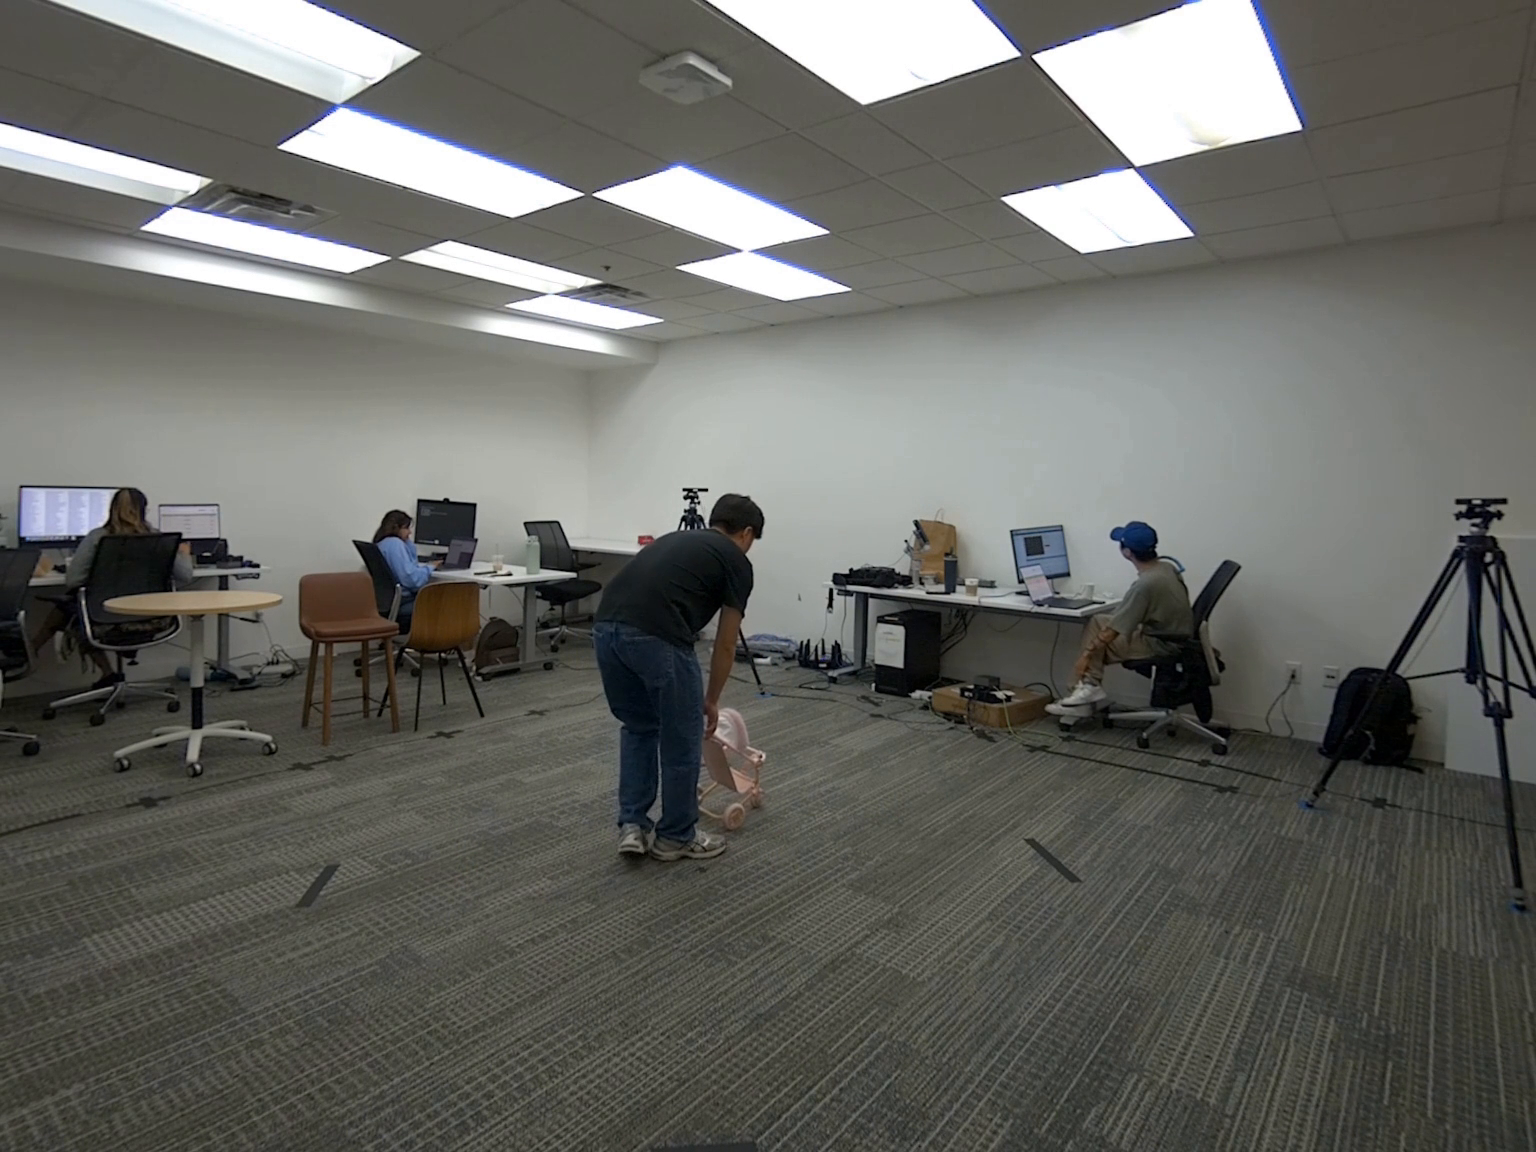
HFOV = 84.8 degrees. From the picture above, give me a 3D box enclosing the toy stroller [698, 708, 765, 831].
[{"bbox_3d":[-0.179,0.793,3.596,0.334,0.527,0.291,-19,18,-37],"label":"toy stroller"}]
